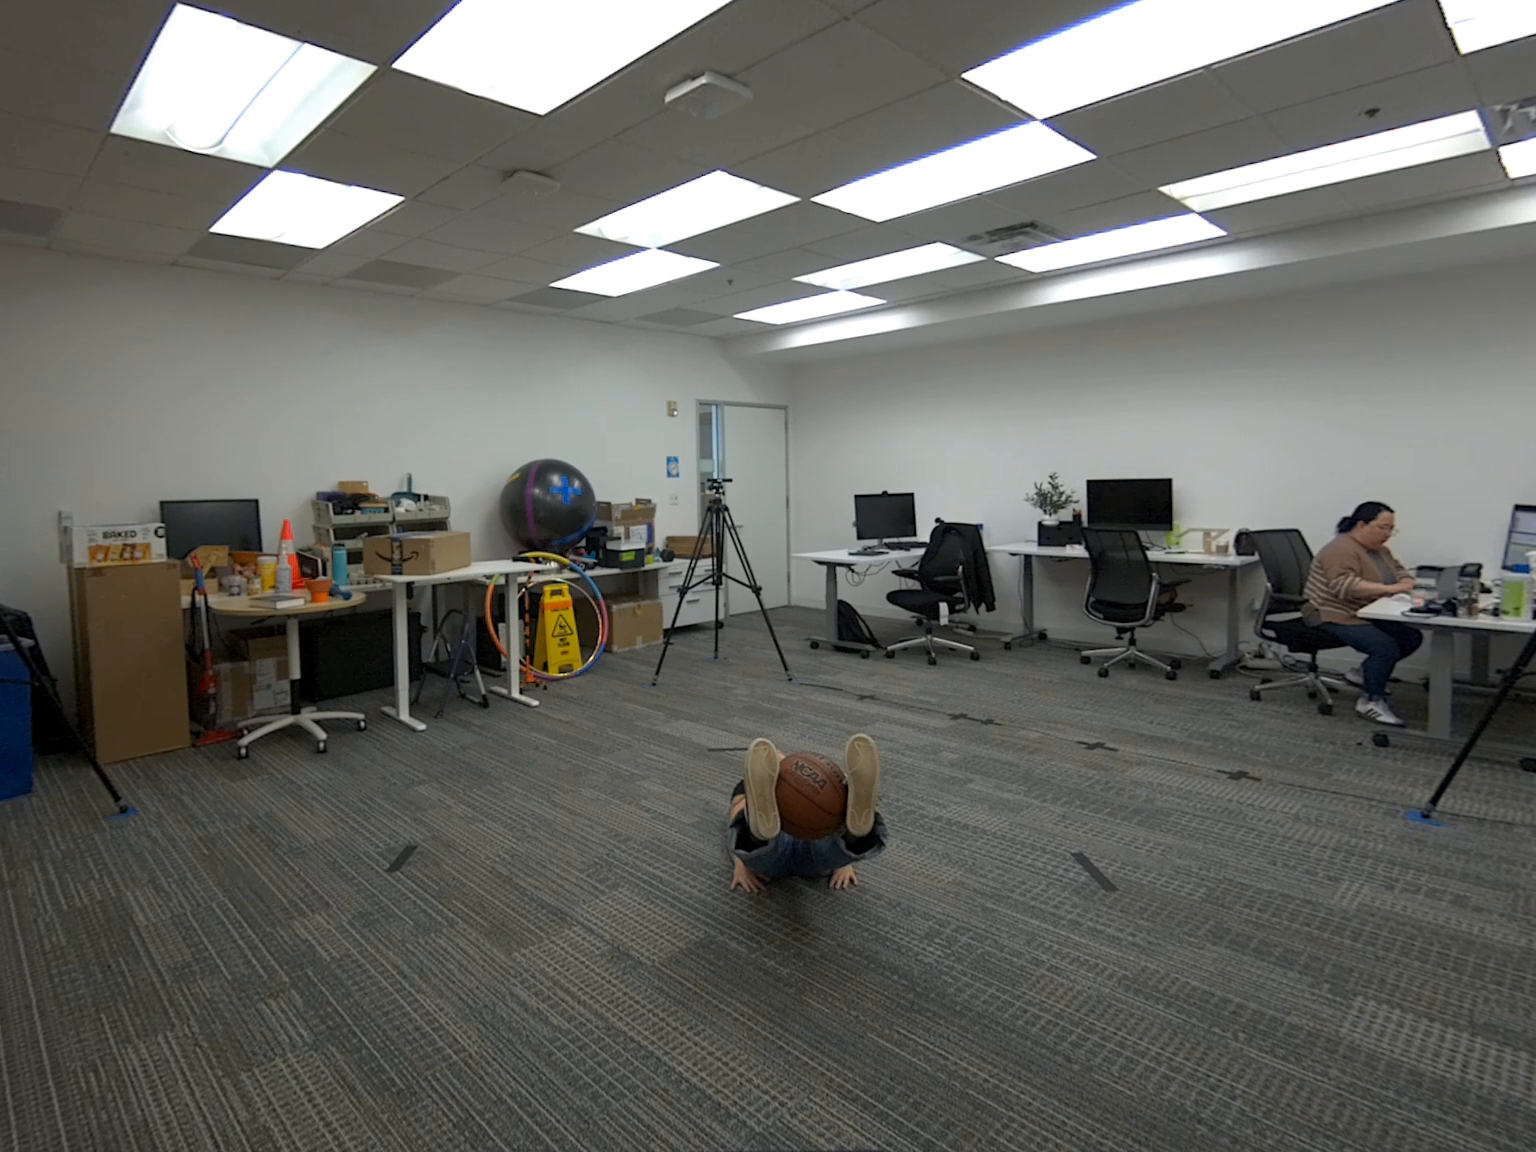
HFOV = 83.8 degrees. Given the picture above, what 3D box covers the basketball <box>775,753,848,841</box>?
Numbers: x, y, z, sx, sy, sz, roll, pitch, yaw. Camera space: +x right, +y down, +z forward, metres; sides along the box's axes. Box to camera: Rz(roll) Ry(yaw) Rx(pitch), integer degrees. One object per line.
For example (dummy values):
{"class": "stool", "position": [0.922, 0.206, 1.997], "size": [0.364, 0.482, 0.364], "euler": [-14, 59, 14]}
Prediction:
{"class": "basketball", "position": [0.118, 0.625, 2.411], "size": [0.236, 0.235, 0.237], "euler": [-1, 5, -2]}
